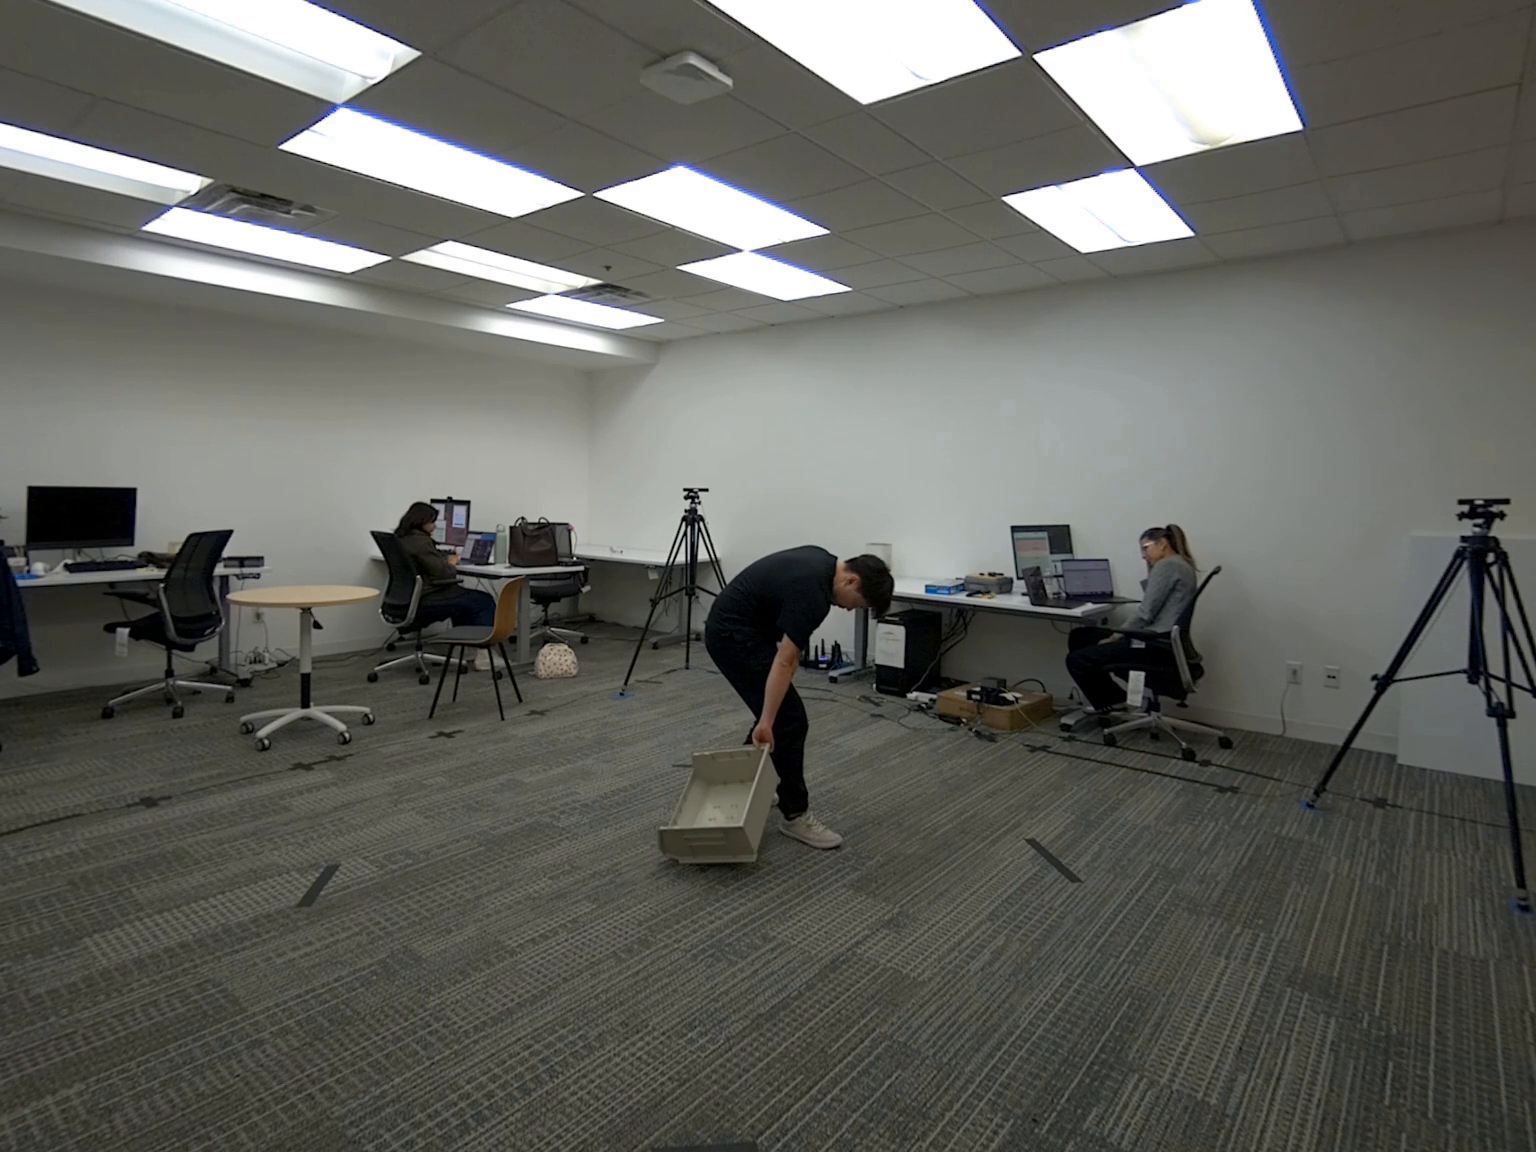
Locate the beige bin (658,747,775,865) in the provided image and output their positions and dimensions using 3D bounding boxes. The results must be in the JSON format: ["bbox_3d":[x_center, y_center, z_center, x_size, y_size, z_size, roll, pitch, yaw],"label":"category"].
[{"bbox_3d":[-0.195,0.862,3.234,0.384,0.184,0.426,-9,27,22],"label":"beige bin"}]
